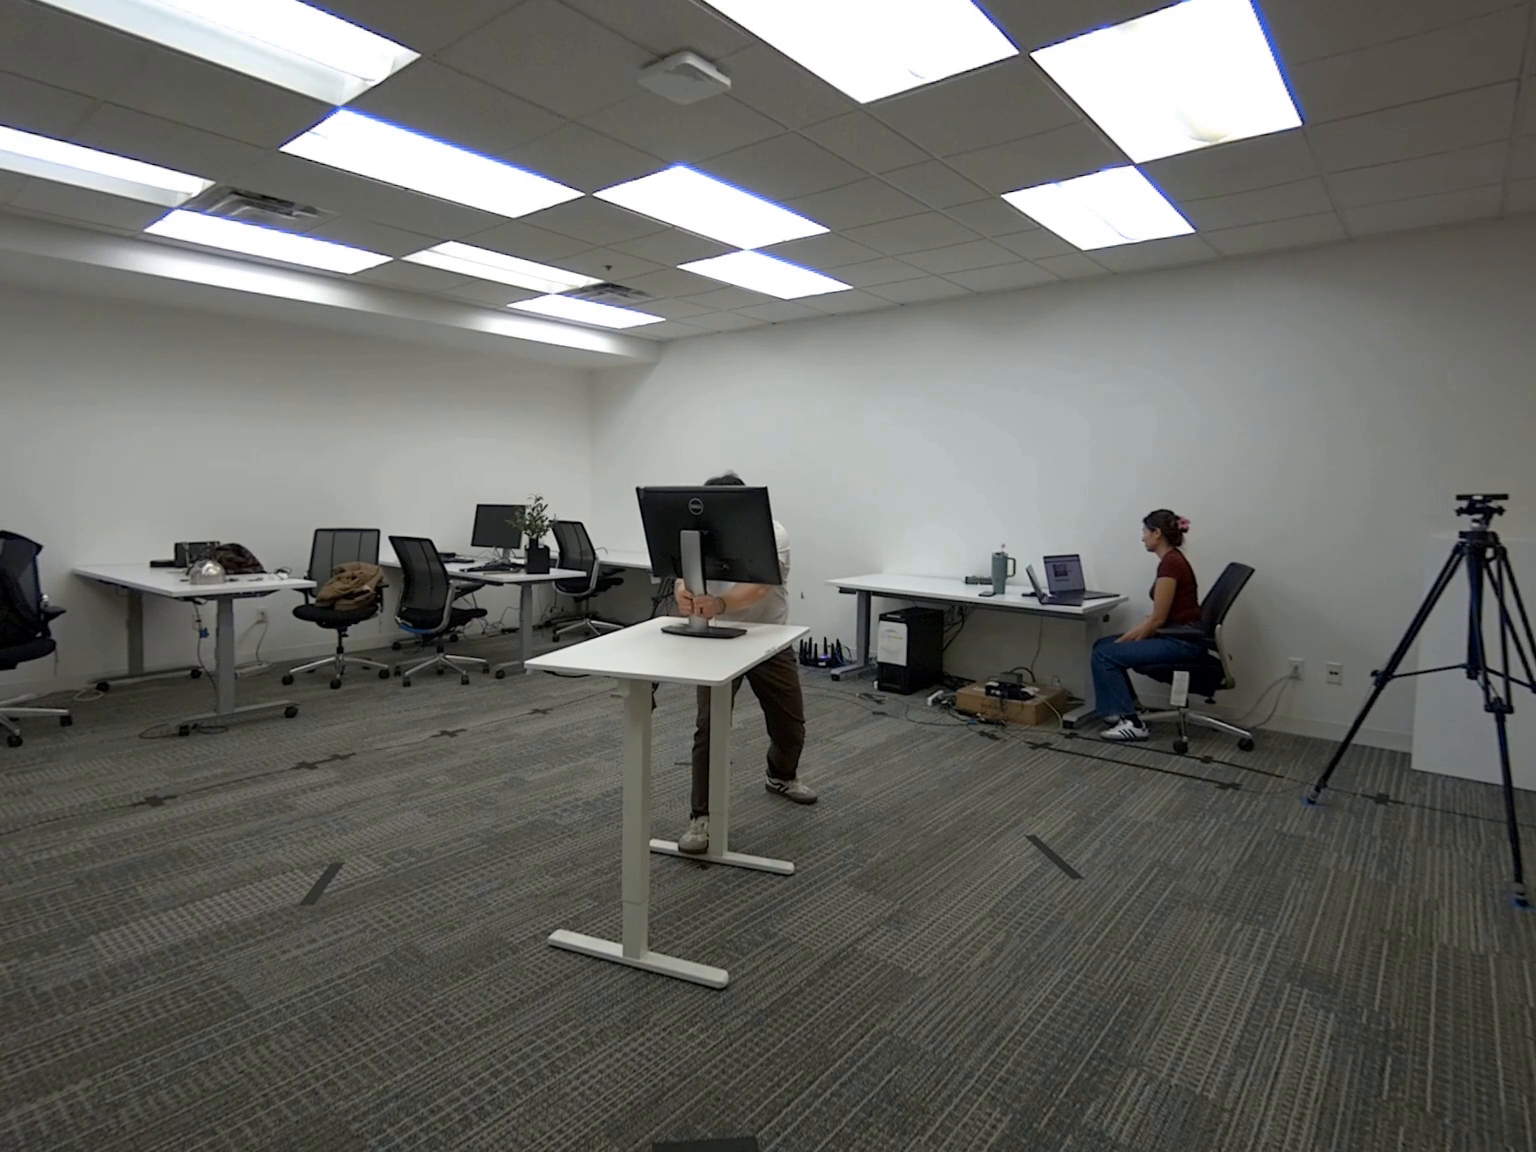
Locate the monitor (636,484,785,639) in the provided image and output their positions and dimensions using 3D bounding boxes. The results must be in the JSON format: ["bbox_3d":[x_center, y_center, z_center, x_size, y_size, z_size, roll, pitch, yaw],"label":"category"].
[{"bbox_3d":[-0.245,-0.055,2.962,0.554,0.519,0.183,3,7,28],"label":"monitor"}]
